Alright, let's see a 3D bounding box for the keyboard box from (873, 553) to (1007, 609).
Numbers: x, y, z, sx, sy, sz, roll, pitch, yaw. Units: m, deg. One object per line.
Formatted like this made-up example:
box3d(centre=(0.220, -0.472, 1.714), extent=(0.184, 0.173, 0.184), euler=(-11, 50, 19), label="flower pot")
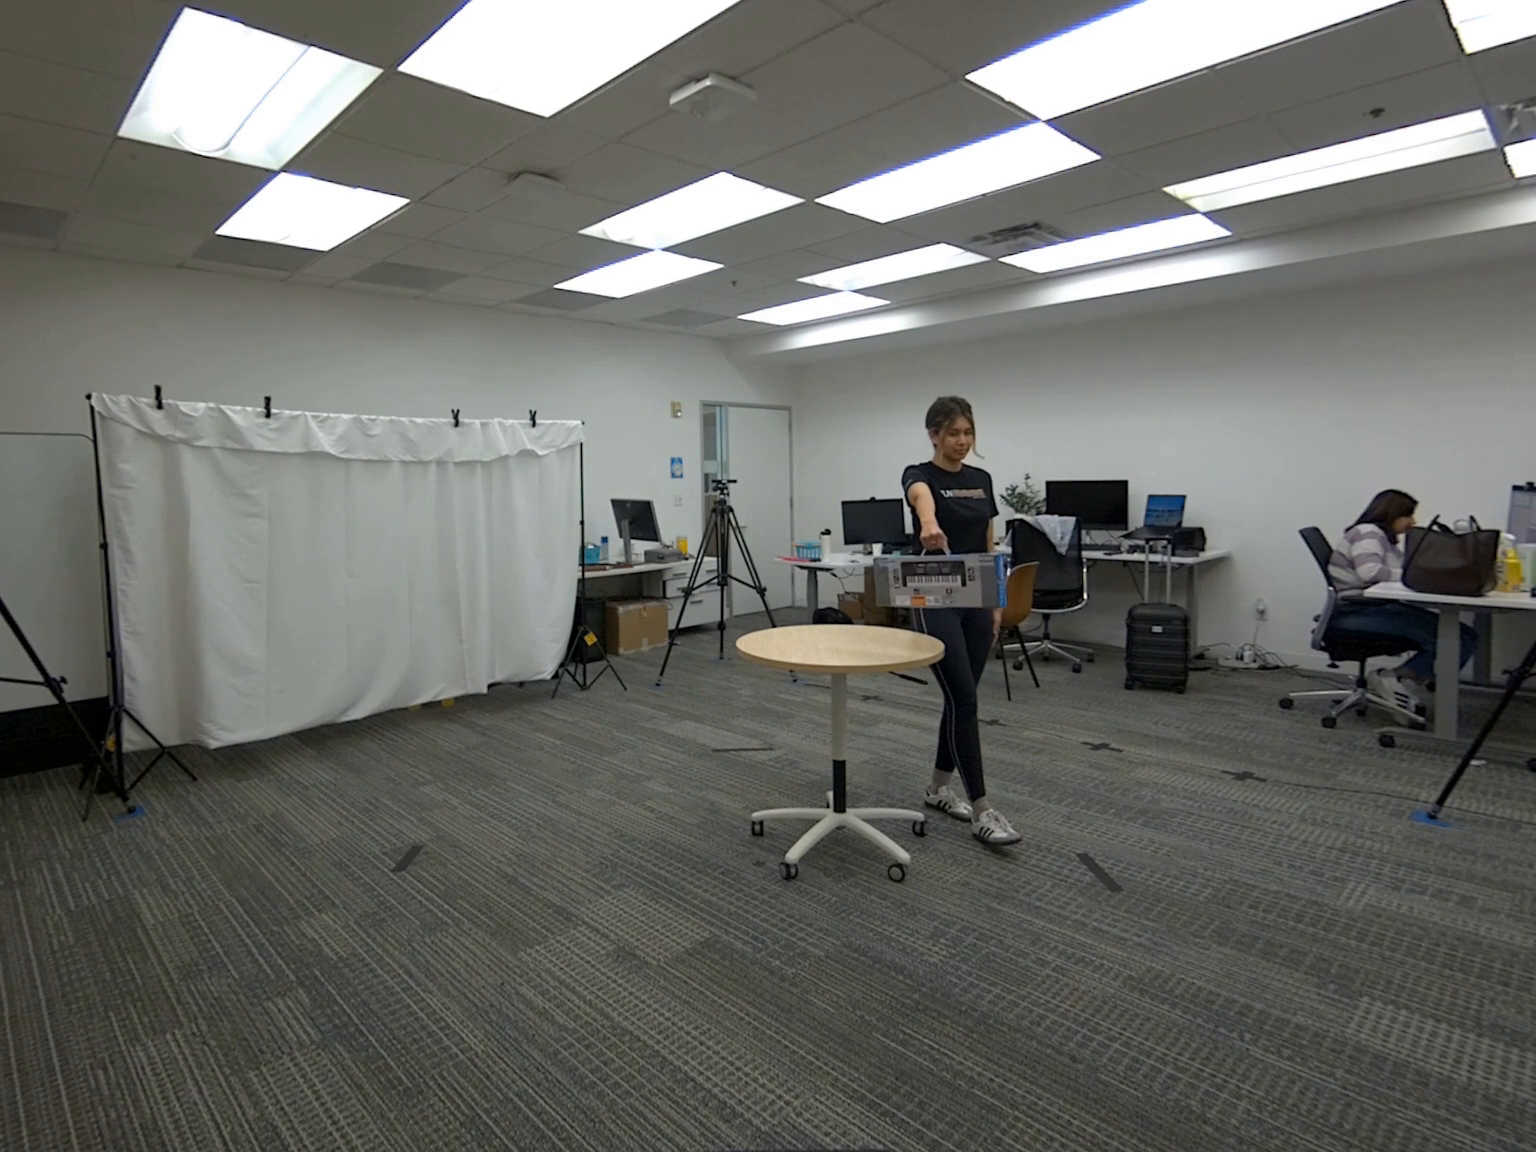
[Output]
box3d(centre=(0.571, 0.018, 2.859), extent=(0.449, 0.175, 0.057), euler=(-1, 4, 38), label="keyboard box")
